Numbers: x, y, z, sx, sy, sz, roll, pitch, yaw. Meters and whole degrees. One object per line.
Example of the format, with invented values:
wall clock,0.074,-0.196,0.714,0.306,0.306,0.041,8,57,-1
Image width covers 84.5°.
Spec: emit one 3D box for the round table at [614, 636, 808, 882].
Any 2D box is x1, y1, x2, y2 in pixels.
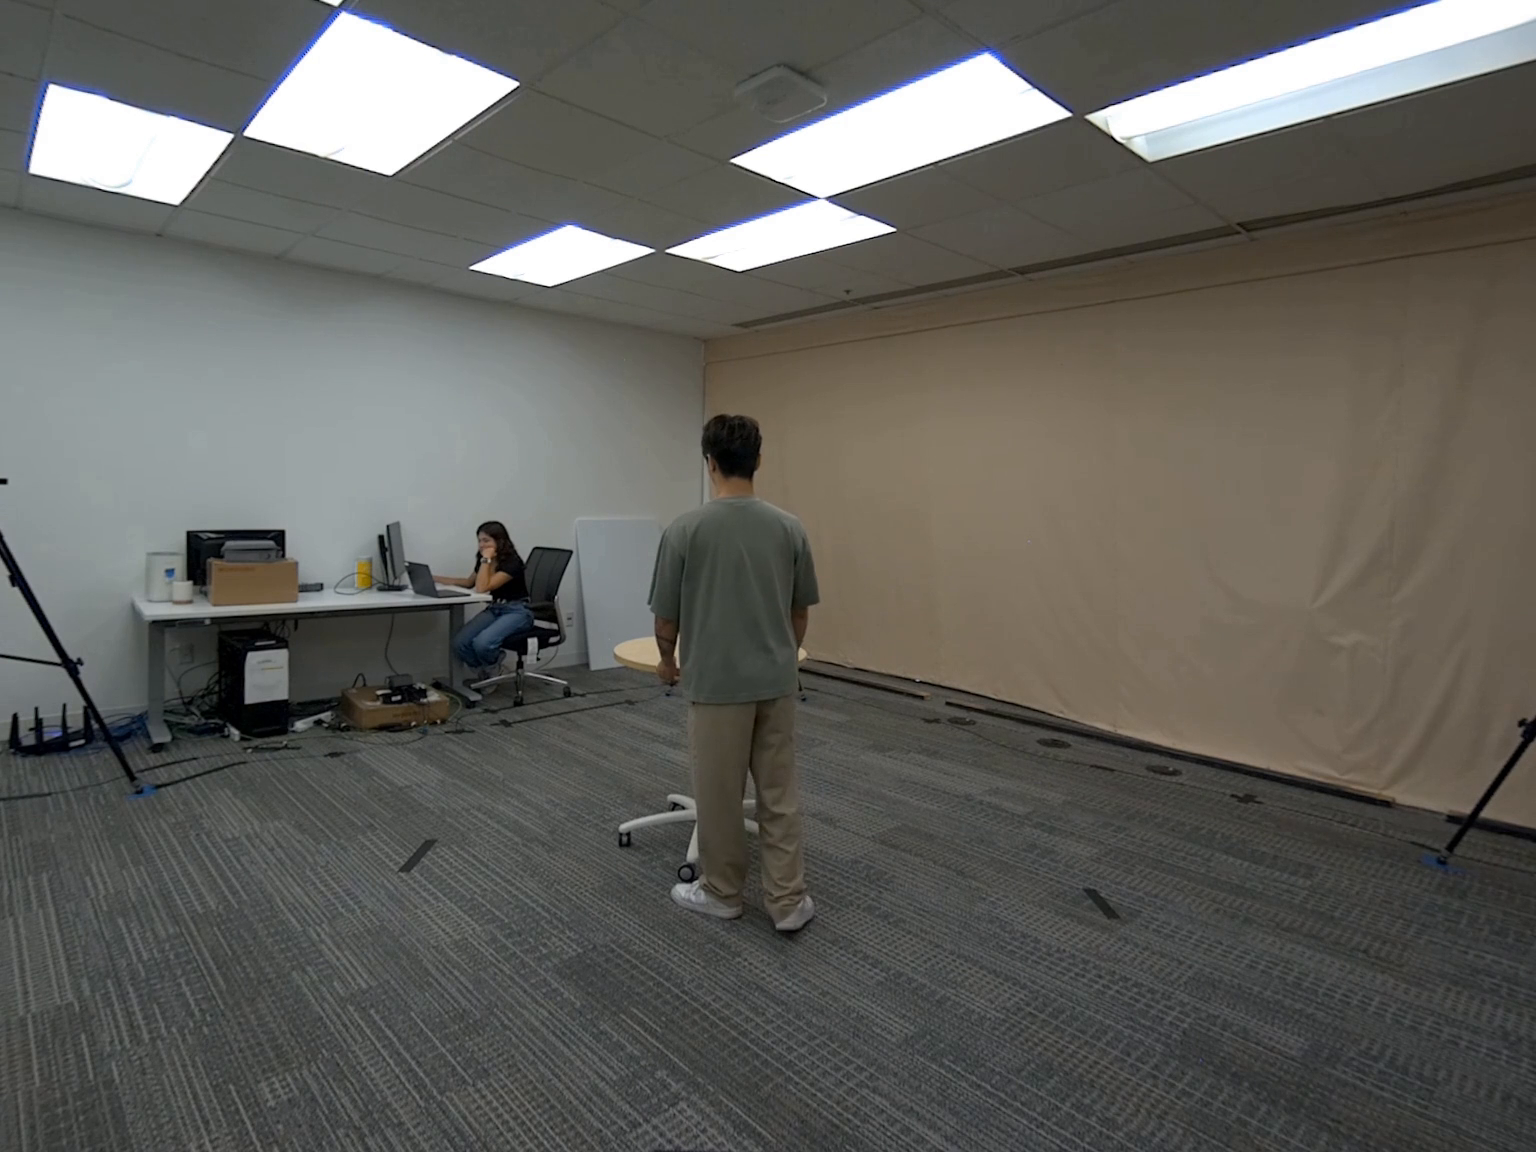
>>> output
round table,-0.244,0.688,3.394,0.784,0.784,0.788,2,5,-2
